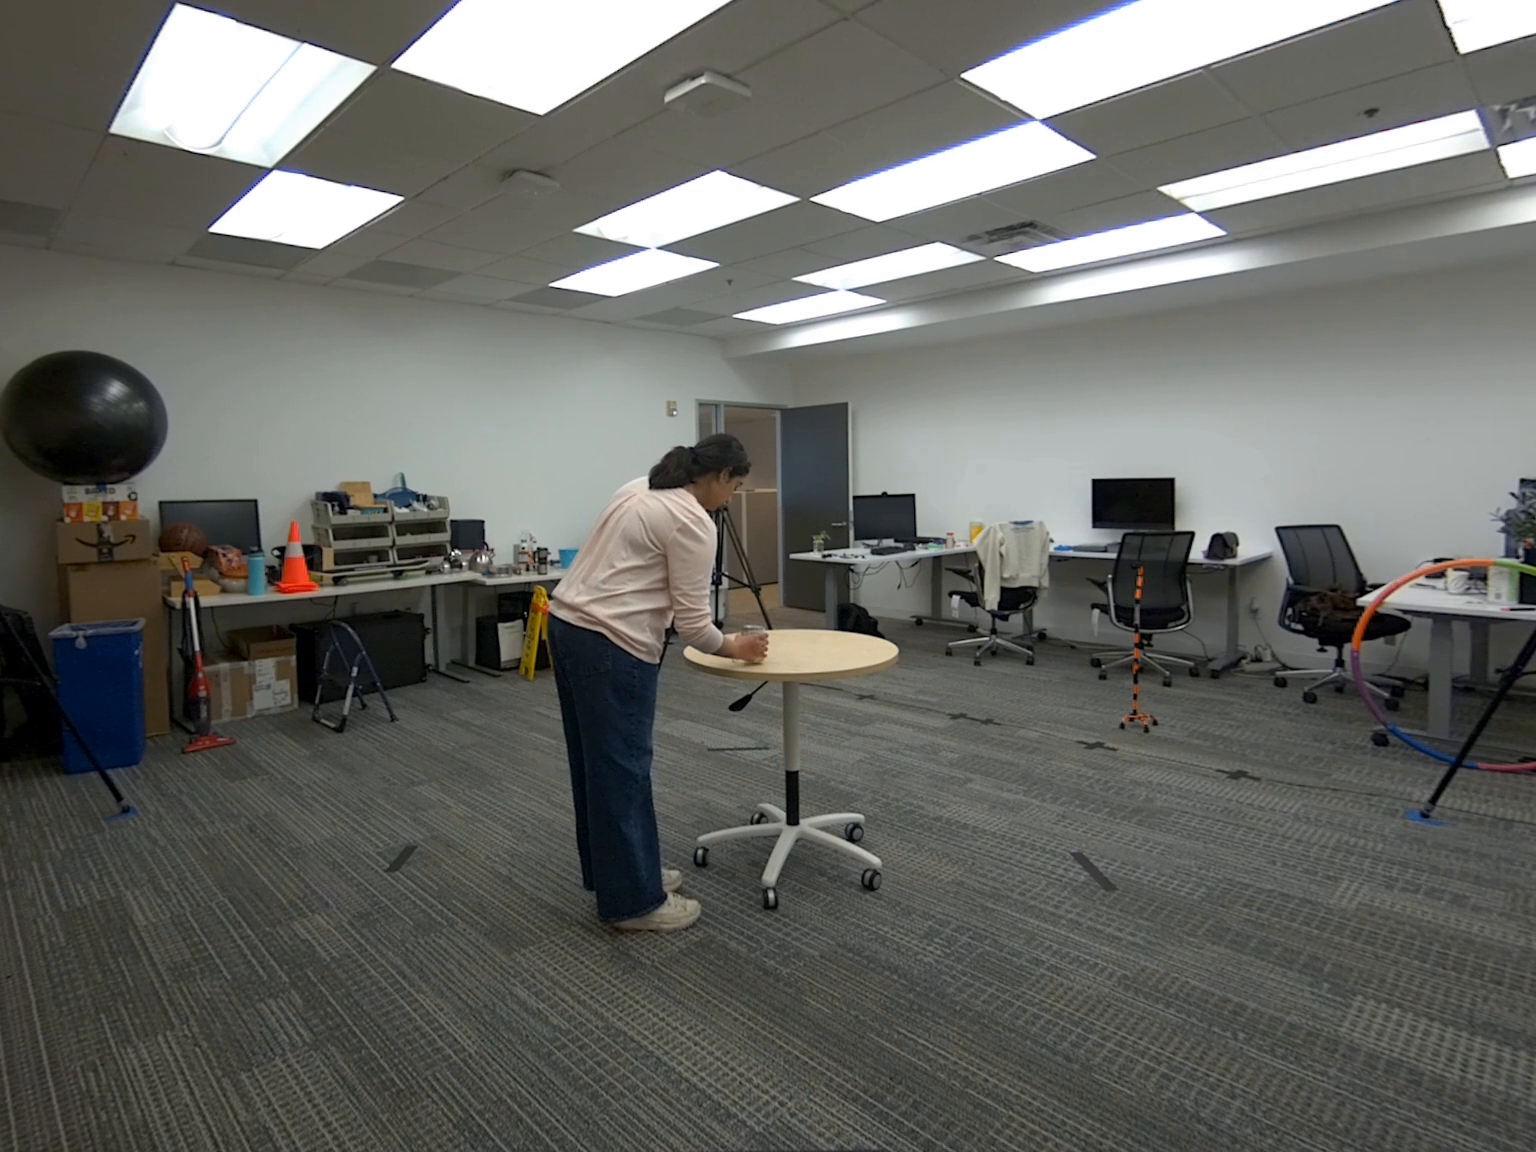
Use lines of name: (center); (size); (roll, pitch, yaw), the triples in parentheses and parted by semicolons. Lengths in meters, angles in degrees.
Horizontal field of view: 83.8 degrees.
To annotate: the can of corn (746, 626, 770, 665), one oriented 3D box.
can of corn: (-0.037, 0.228, 2.845); (0.074, 0.110, 0.075); (0, 7, -2)
